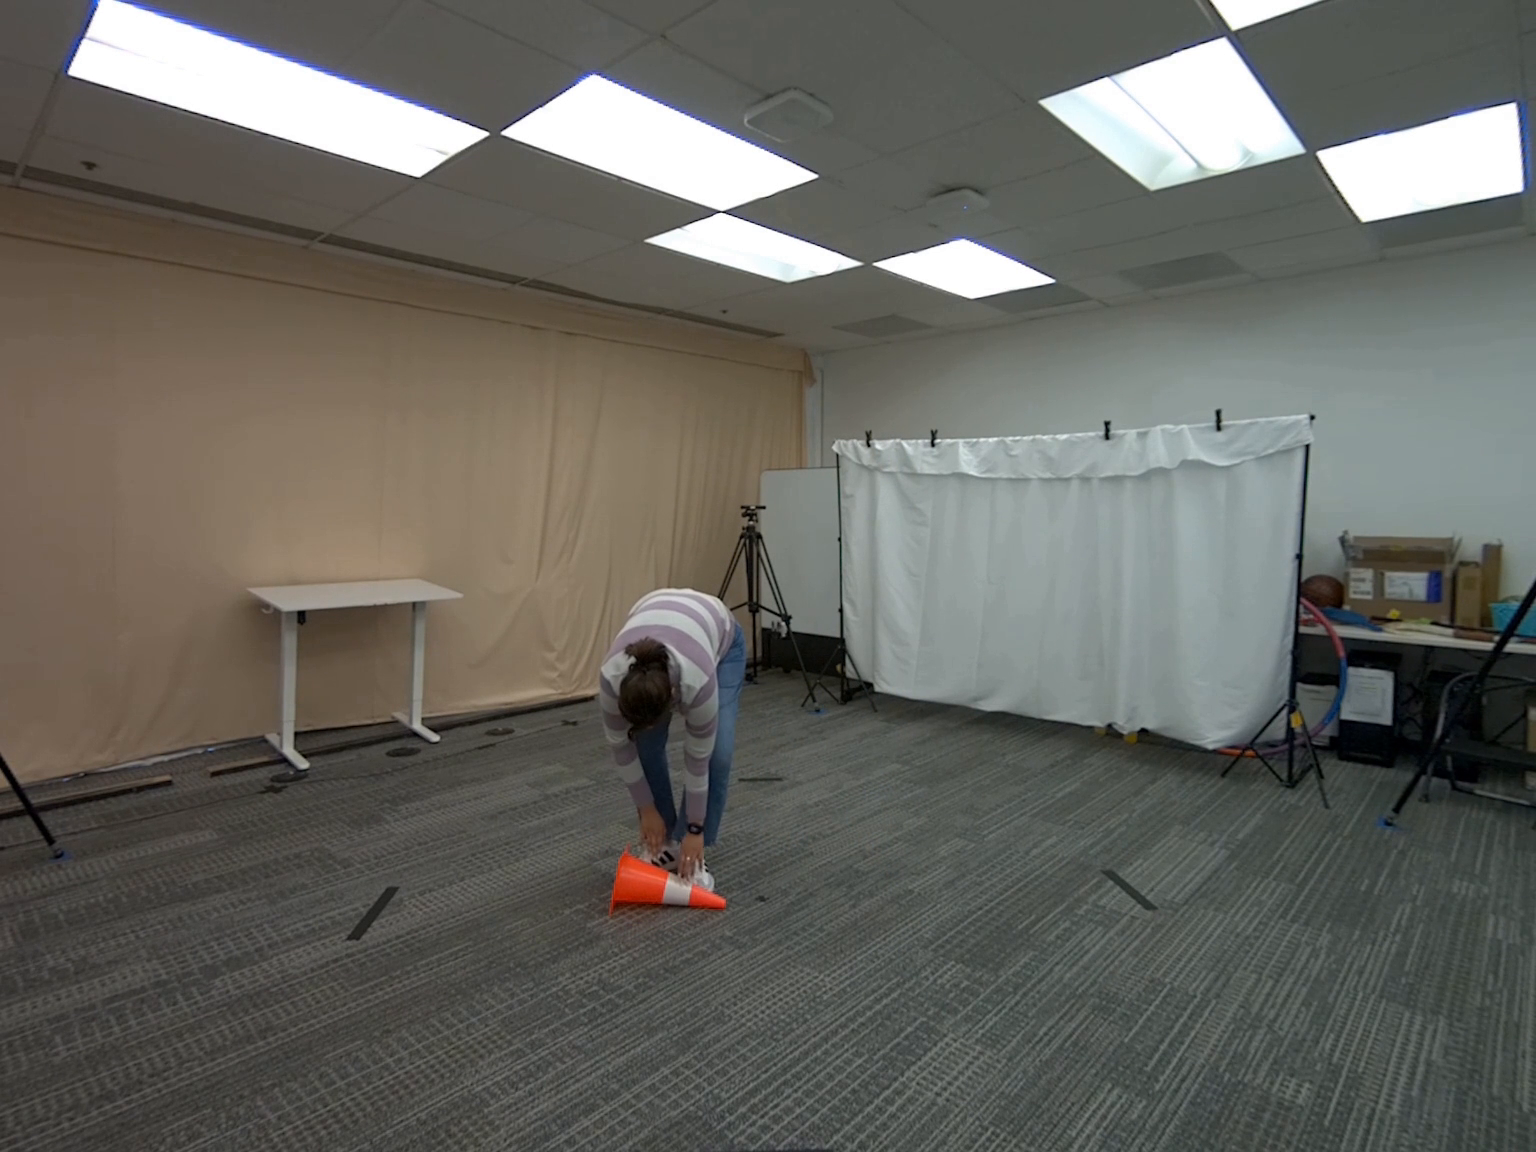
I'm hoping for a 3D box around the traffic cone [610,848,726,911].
[{"bbox_3d":[-0.329,1.080,2.923,0.387,0.203,0.203,10,-2,7],"label":"traffic cone"}]
